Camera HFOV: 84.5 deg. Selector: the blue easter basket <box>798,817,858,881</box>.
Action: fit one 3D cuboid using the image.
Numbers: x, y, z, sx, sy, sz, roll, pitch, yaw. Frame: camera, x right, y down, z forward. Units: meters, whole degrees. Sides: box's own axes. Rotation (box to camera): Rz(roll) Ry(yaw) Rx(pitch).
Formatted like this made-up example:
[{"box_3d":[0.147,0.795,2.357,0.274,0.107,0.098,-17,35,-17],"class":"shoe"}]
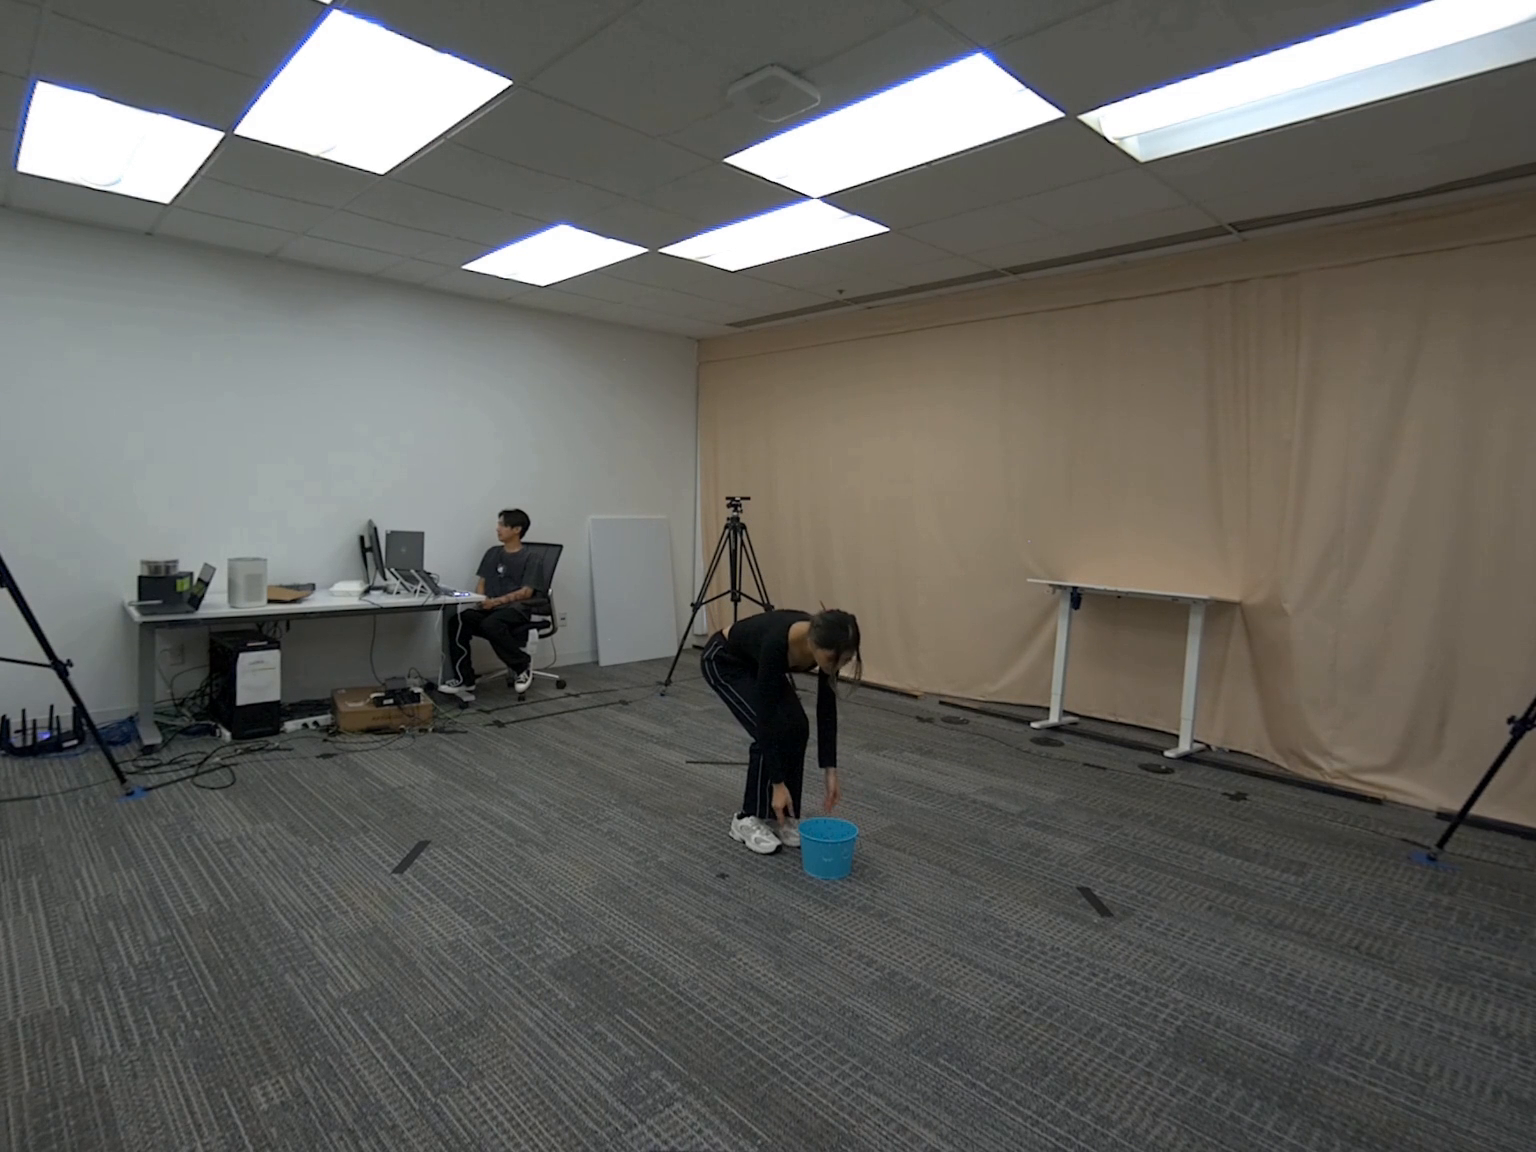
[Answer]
[{"box_3d":[0.213,1.032,3.182,0.243,0.155,0.244,1,5,-1],"class":"blue easter basket"}]
